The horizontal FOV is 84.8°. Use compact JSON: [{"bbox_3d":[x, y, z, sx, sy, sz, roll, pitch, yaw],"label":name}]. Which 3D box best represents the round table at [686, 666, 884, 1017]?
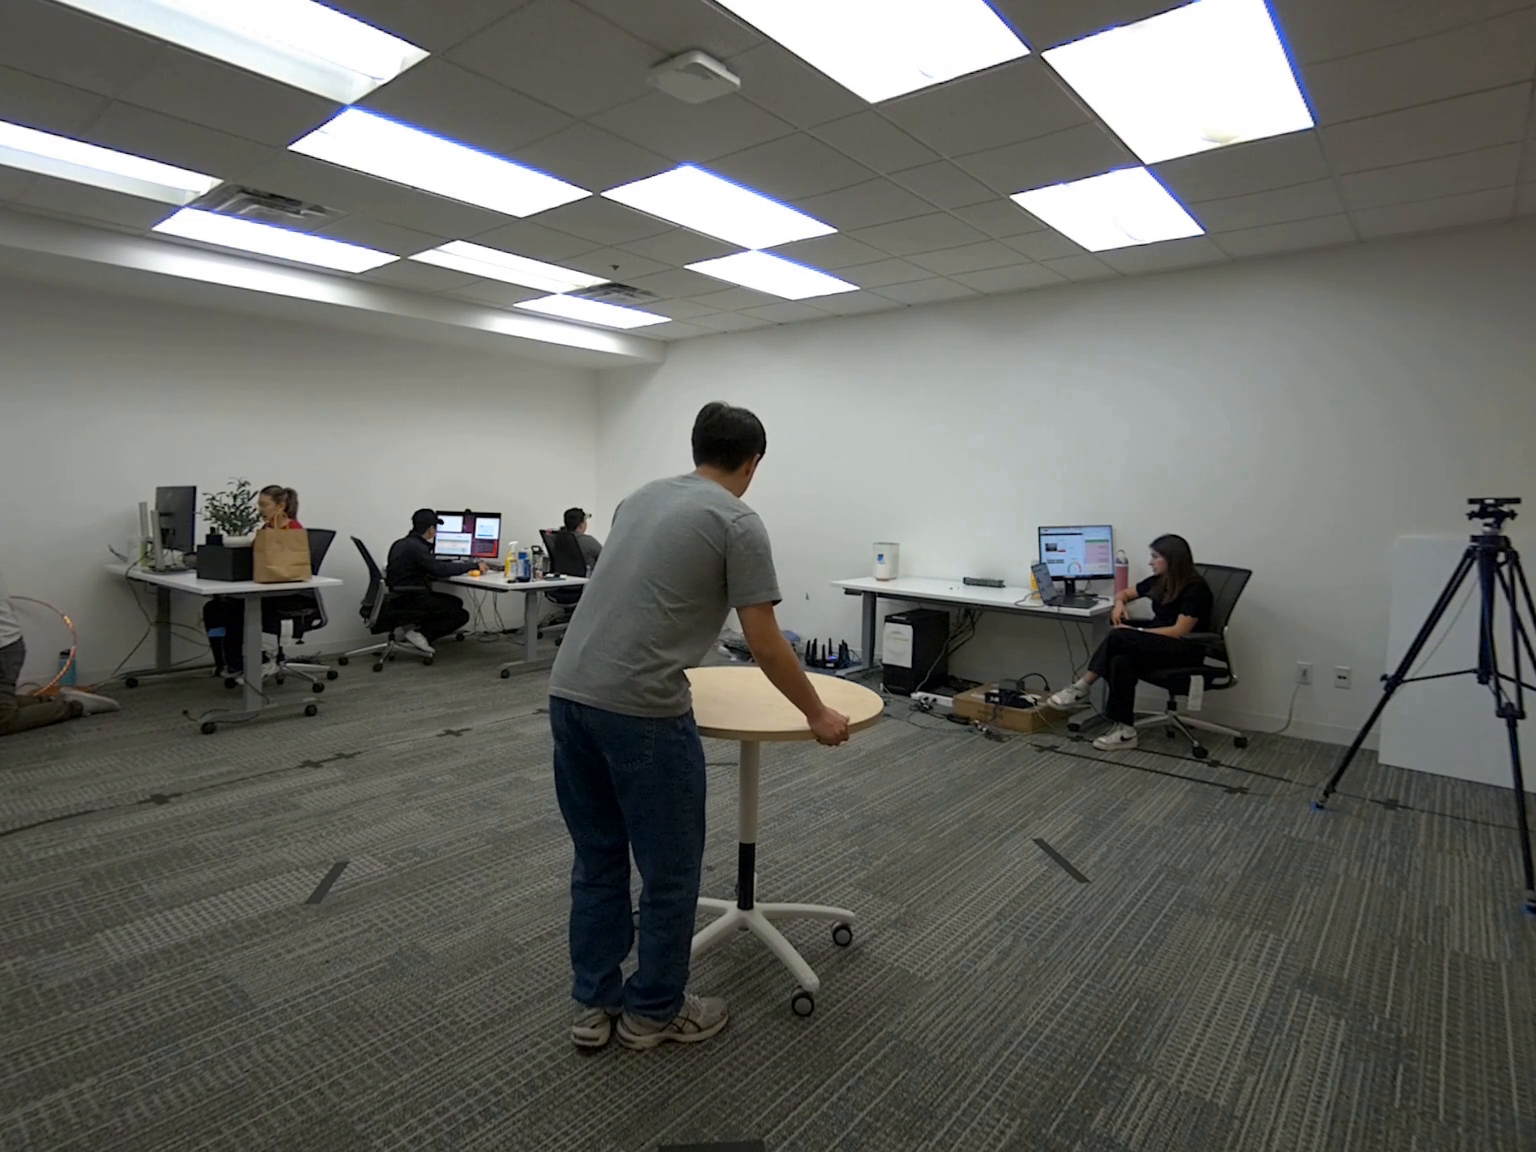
[{"bbox_3d":[-0.069,0.739,2.533,0.763,0.791,0.768,1,5,-2],"label":"round table"}]
